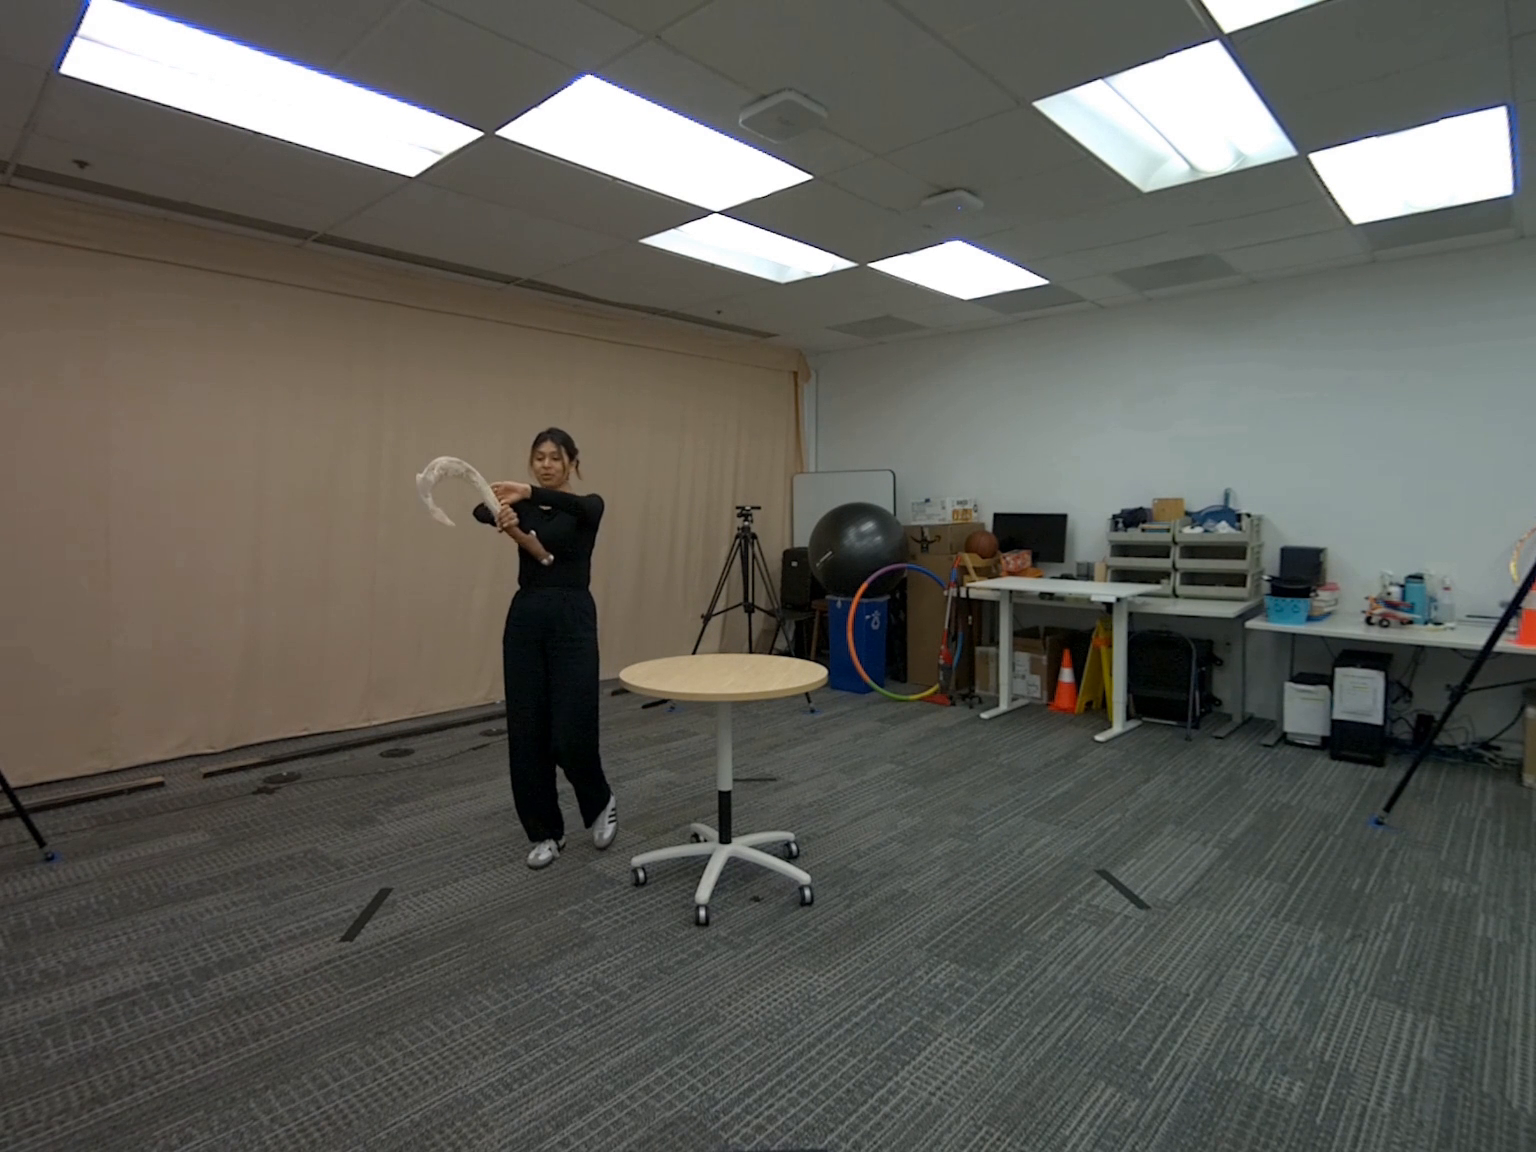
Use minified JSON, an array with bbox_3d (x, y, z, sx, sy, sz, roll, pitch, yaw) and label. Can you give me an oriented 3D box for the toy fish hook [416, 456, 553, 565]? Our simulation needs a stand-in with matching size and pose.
[{"bbox_3d":[-0.926,-0.165,2.769,0.223,0.500,0.049,-51,13,-29],"label":"toy fish hook"}]
